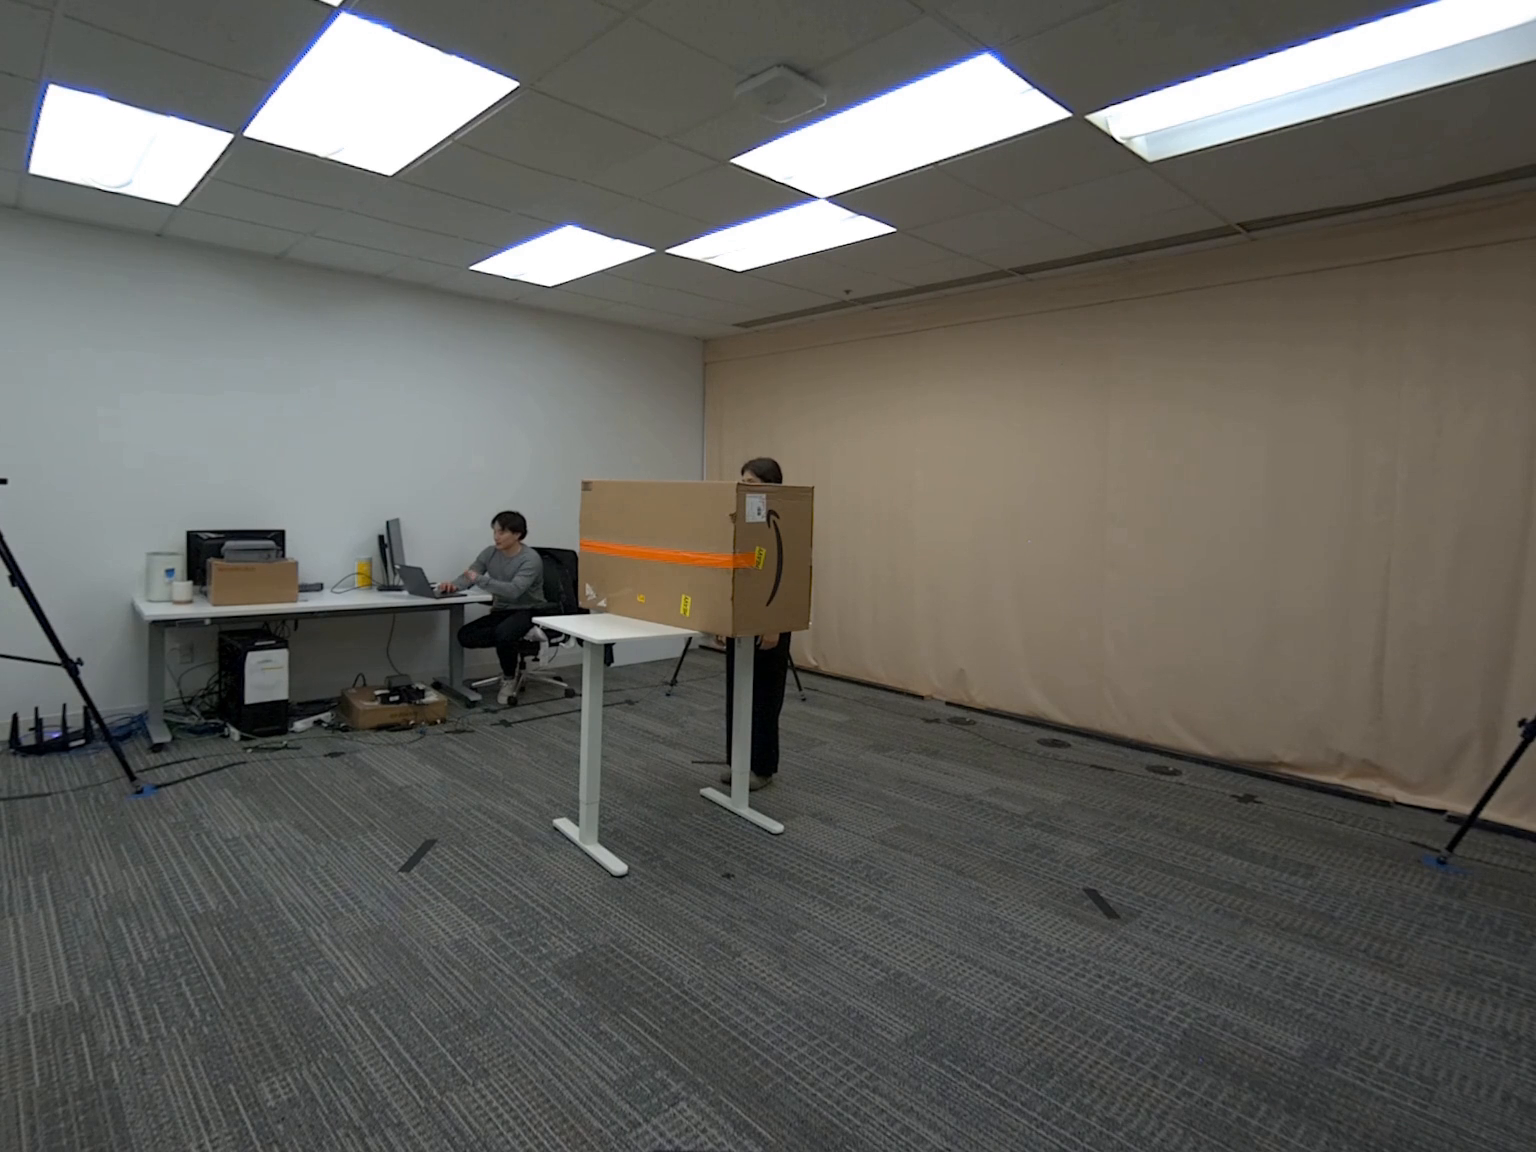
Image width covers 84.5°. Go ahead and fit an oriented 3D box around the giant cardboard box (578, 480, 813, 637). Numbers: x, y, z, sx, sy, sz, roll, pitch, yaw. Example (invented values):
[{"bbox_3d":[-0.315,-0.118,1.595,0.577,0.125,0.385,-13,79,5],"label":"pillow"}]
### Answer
[{"bbox_3d":[-0.347,-0.109,3.566,0.416,0.576,1.052,-2,6,-44],"label":"giant cardboard box"}]
